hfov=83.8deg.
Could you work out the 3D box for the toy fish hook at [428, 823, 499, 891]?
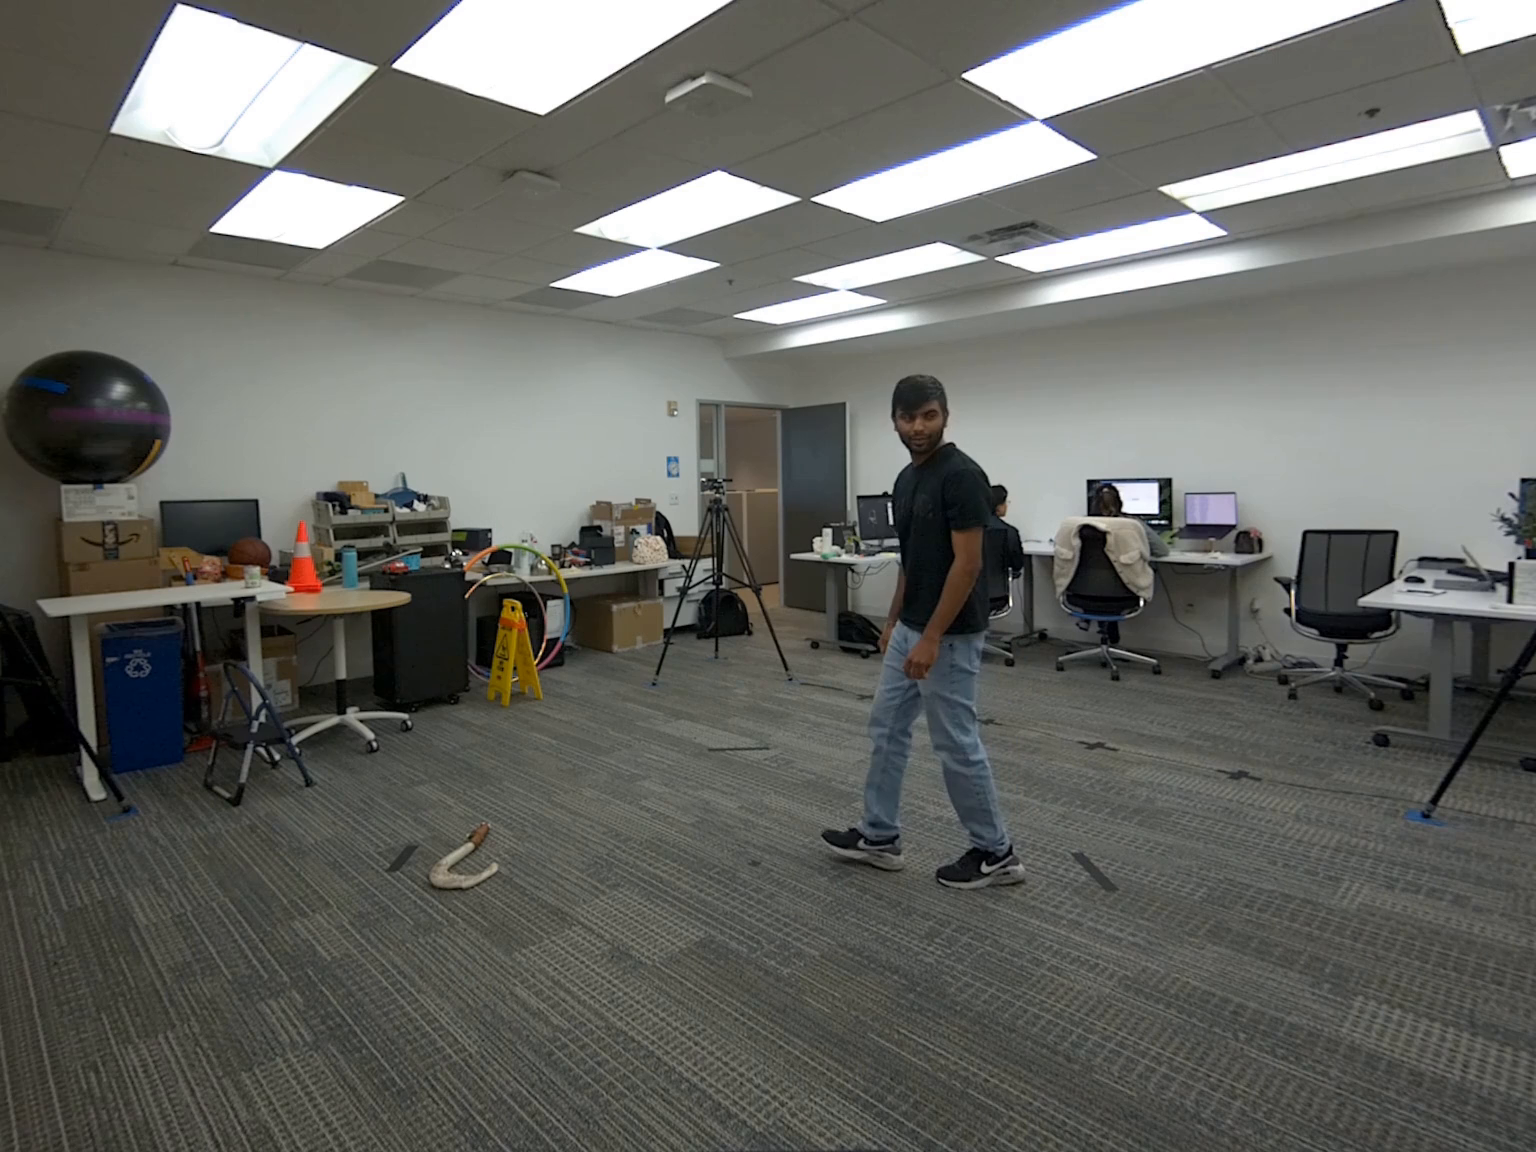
[{"bbox_3d":[-1.080,1.038,3.195,0.225,0.048,0.508,6,7,0],"label":"toy fish hook"}]
